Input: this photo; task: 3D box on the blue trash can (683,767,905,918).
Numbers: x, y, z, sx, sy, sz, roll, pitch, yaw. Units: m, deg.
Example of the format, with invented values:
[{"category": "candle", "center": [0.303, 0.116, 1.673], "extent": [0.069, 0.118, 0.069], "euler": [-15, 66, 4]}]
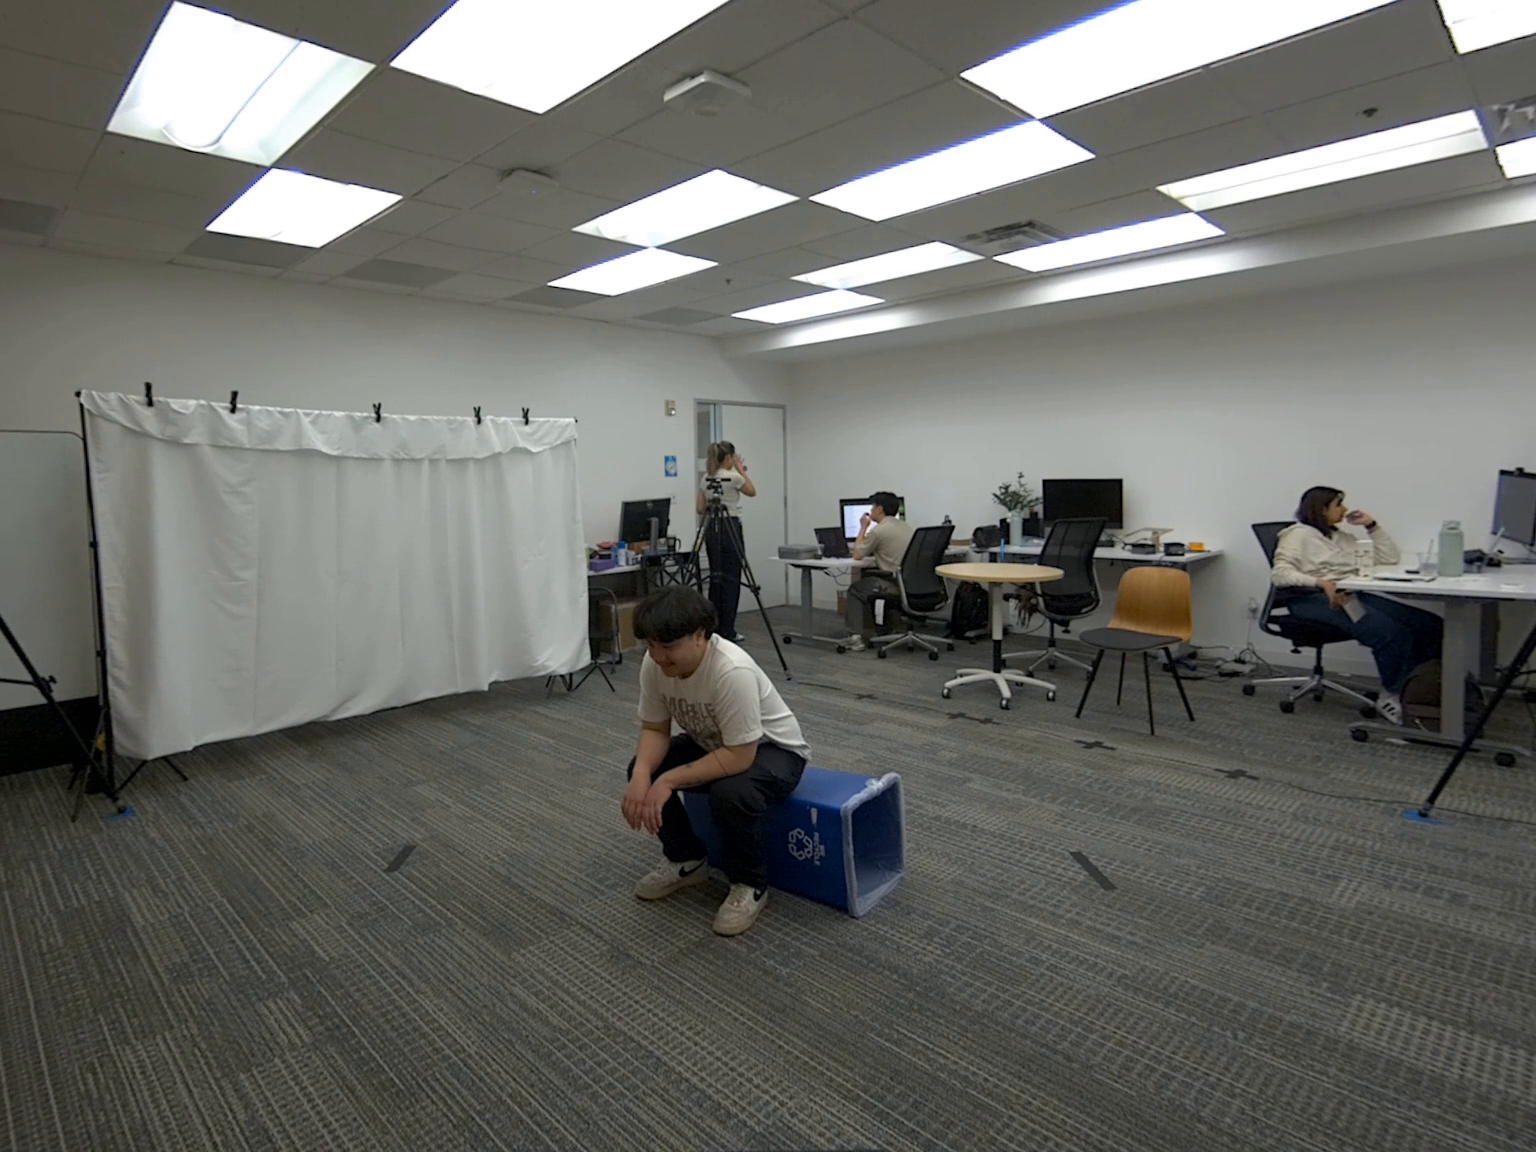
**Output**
[{"category": "blue trash can", "center": [0.080, 0.883, 3.043], "extent": [0.733, 0.373, 0.369], "euler": [-1, 6, 37]}]
